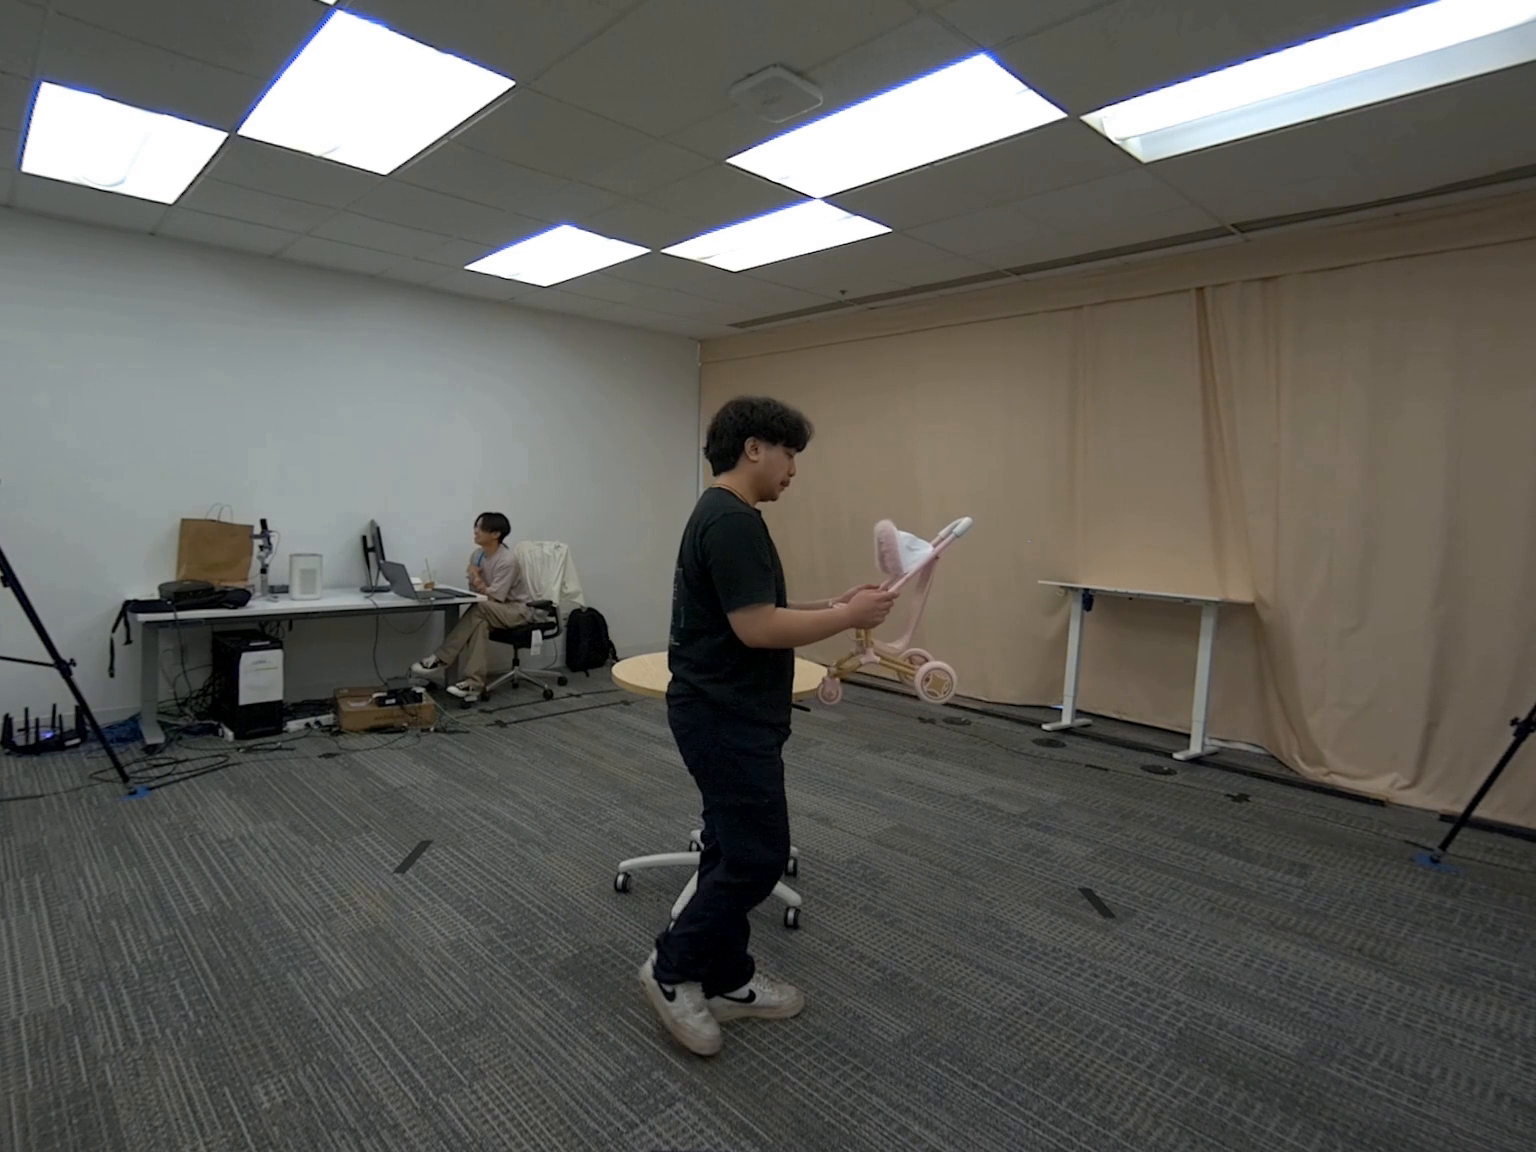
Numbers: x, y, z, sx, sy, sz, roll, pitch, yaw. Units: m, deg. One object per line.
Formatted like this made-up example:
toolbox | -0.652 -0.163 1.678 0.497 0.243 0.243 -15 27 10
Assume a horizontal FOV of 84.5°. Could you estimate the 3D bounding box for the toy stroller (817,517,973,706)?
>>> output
toy stroller | 0.319 0.099 2.210 0.343 0.535 0.280 7 1 5
